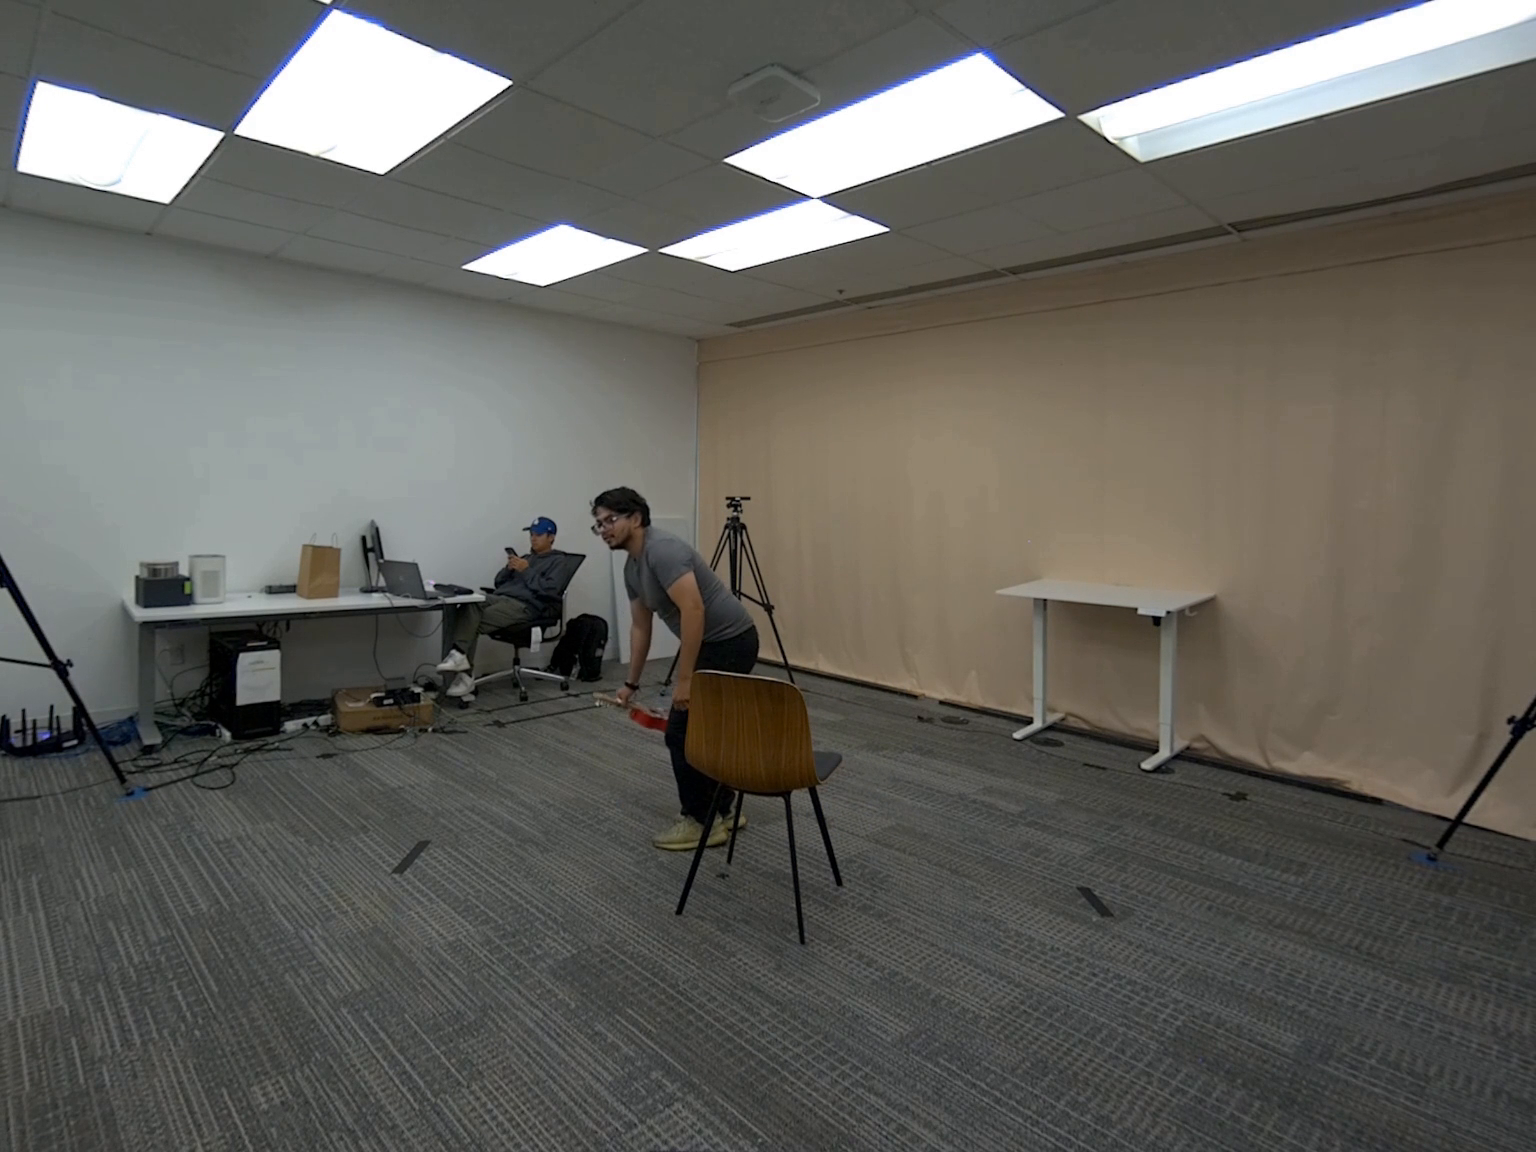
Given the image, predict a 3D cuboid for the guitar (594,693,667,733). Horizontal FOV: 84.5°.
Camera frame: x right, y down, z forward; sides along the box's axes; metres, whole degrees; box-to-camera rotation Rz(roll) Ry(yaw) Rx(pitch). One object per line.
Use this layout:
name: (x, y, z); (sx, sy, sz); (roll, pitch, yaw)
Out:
guitar: (-0.598, 0.608, 3.764); (0.485, 0.071, 0.198); (25, 1, -28)
